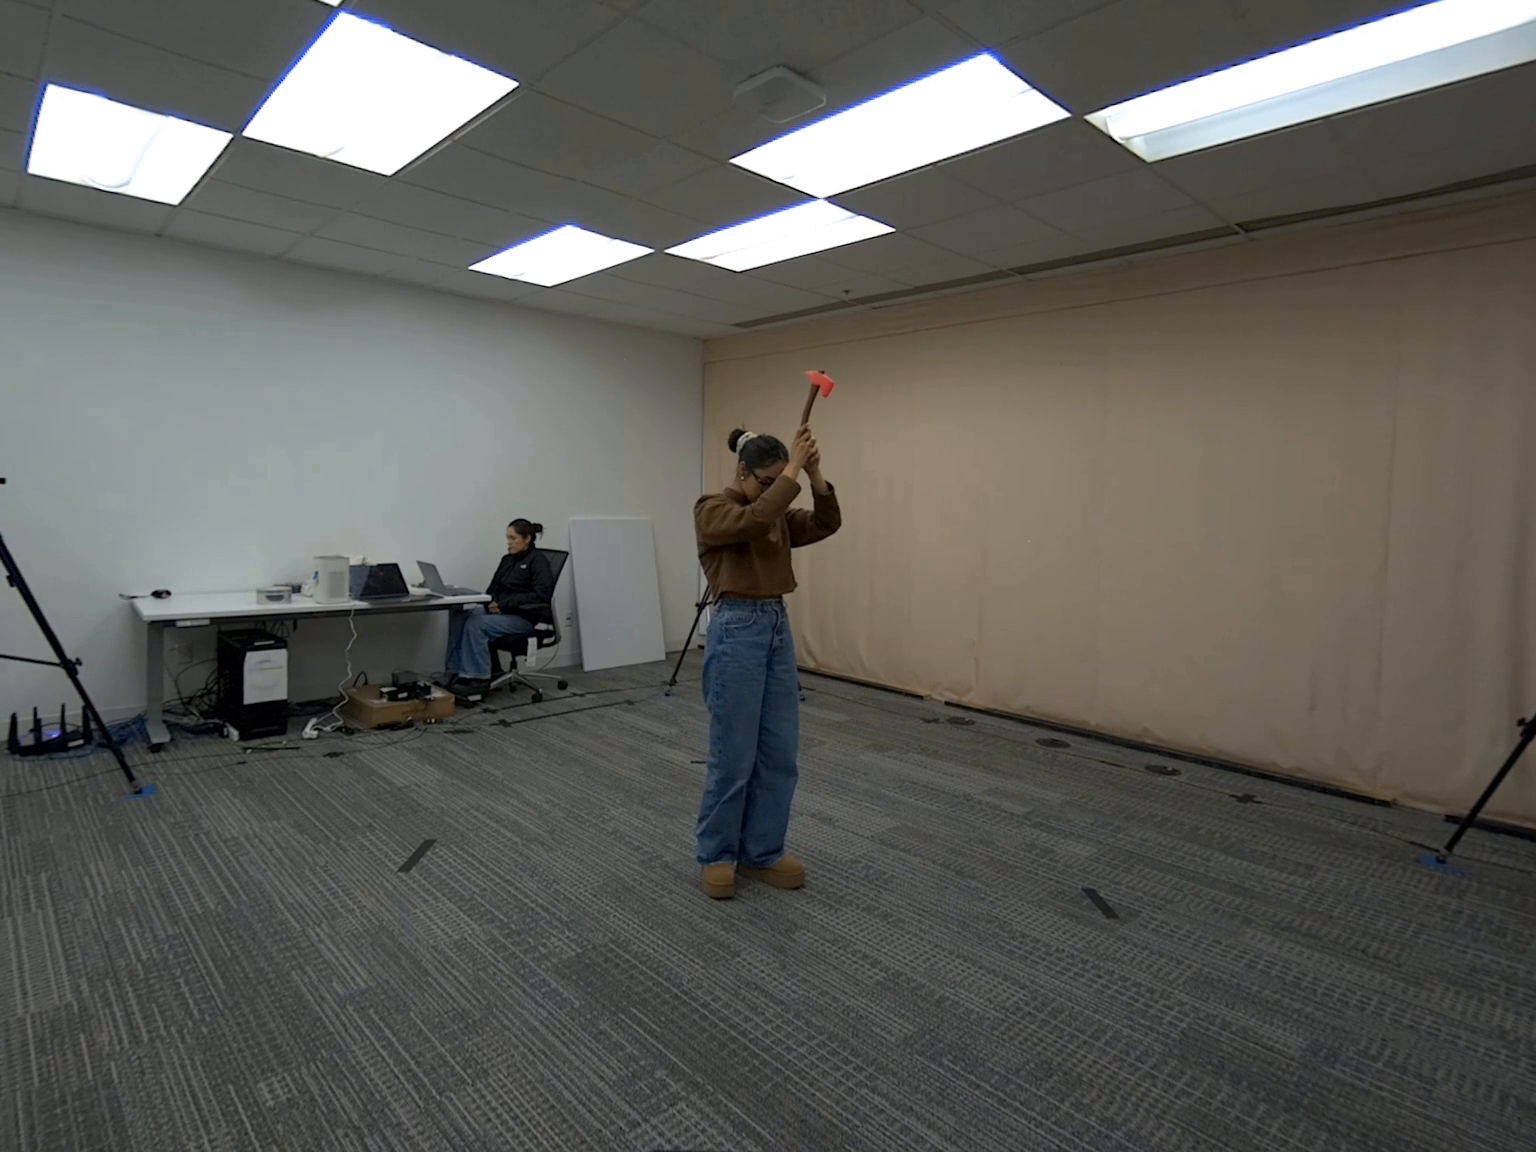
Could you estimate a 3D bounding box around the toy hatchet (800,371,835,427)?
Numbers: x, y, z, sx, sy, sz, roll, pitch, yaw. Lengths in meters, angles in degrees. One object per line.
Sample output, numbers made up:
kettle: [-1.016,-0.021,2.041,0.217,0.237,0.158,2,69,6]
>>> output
toy hatchet: [0.154,-0.561,2.833,0.134,0.269,0.029,10,5,42]
